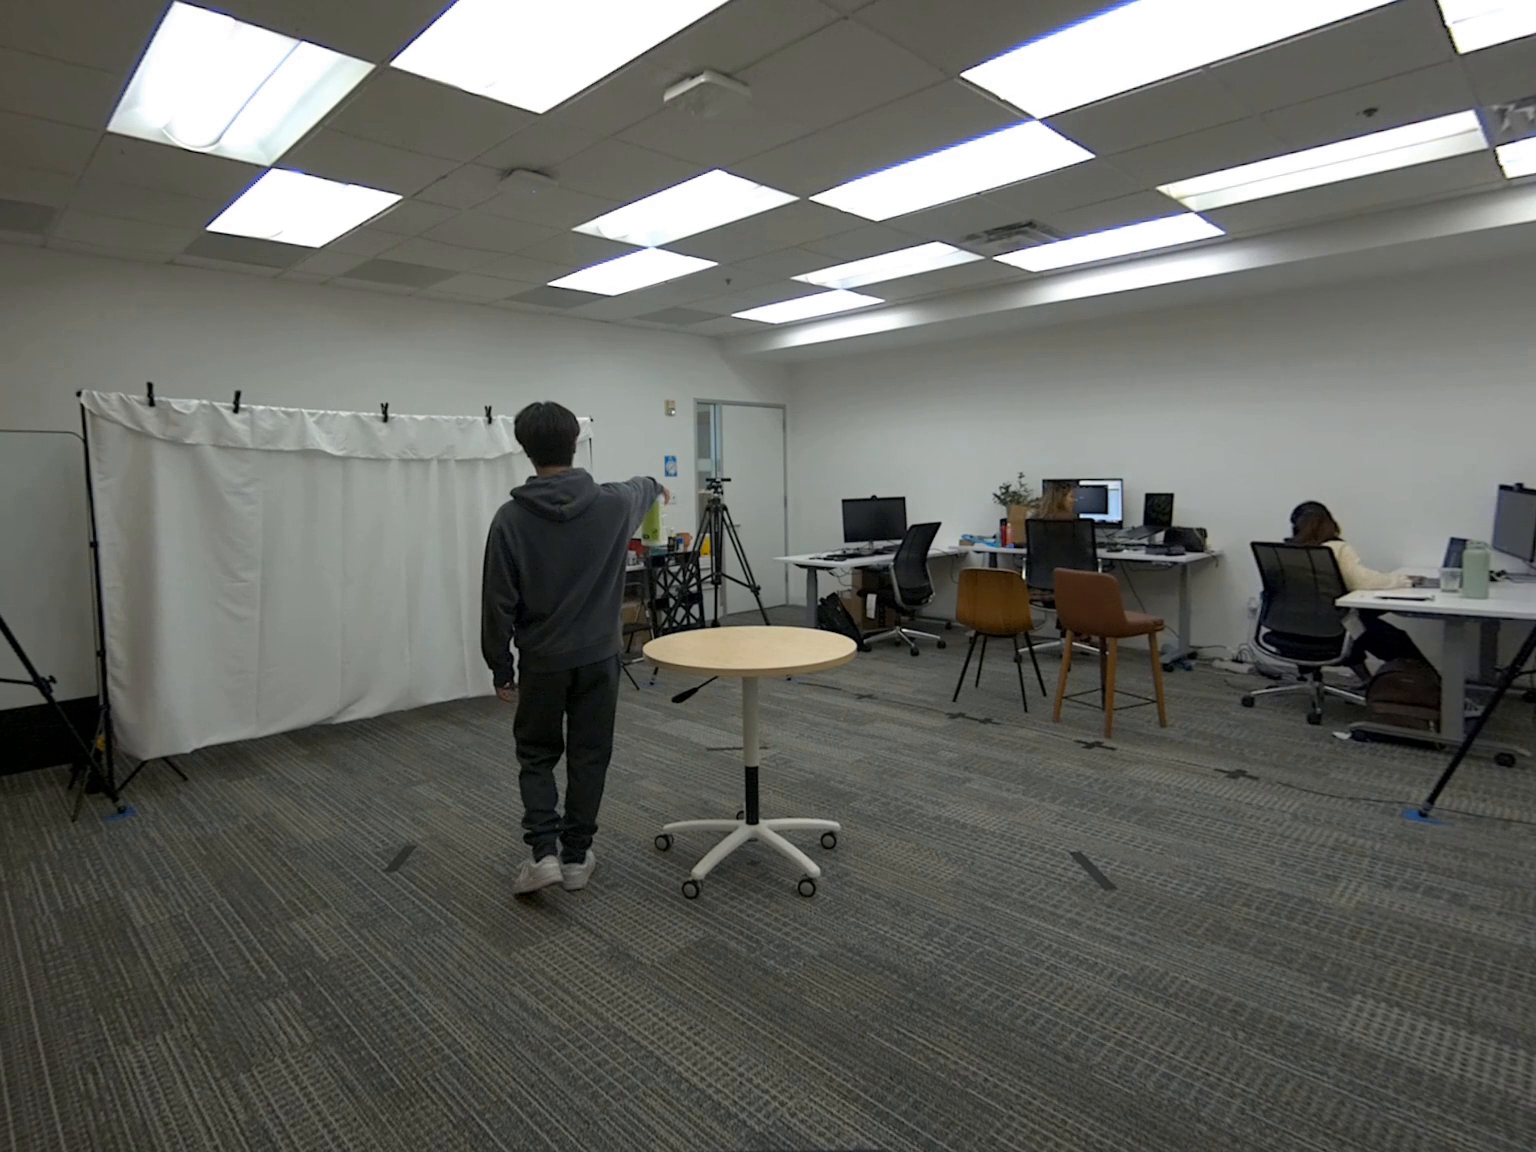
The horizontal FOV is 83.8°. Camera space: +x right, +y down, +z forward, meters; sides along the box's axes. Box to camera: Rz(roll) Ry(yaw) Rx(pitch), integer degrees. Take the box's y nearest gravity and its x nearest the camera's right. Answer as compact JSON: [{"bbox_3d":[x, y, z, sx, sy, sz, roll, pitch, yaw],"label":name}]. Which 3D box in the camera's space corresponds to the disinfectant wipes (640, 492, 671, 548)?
[{"bbox_3d":[-0.465,-0.234,3.521,0.118,0.216,0.119,0,8,-2],"label":"disinfectant wipes"}]
